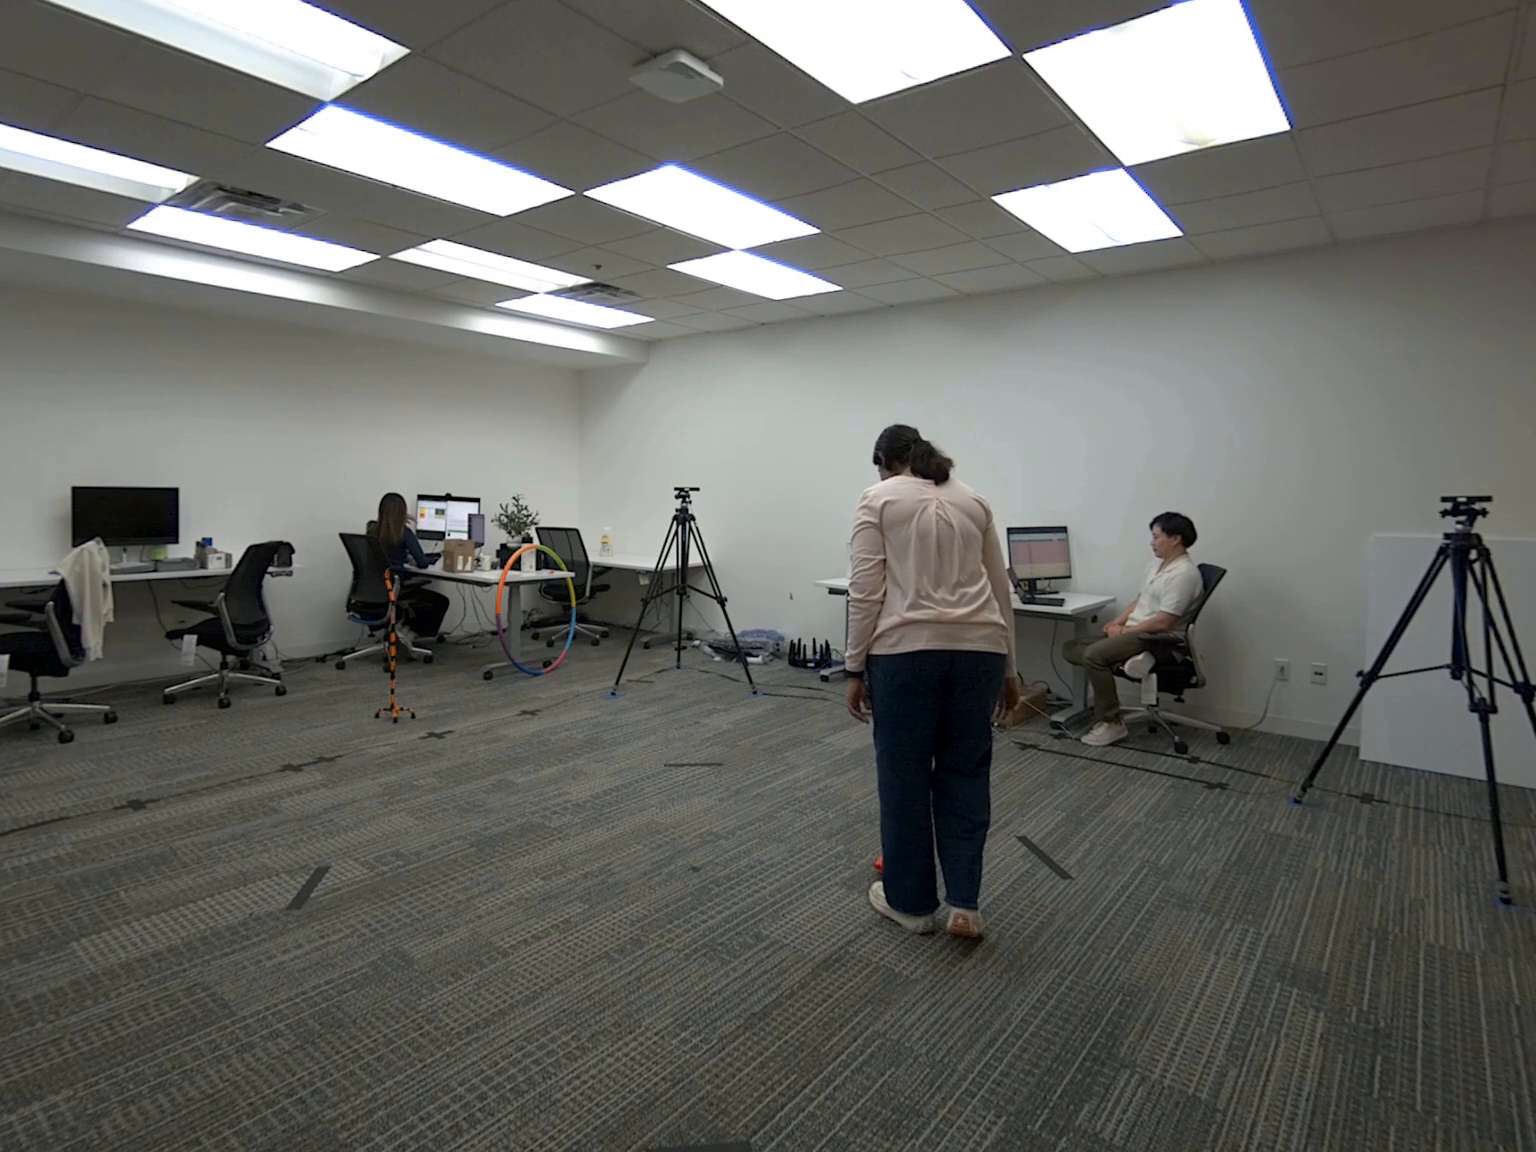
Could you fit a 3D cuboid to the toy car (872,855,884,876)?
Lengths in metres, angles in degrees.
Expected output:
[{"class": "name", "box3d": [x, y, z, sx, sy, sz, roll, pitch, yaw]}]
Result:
[{"class": "toy car", "box3d": [0.480, 1.042, 3.120, 0.135, 0.083, 0.245, 6, -4, 42]}]
